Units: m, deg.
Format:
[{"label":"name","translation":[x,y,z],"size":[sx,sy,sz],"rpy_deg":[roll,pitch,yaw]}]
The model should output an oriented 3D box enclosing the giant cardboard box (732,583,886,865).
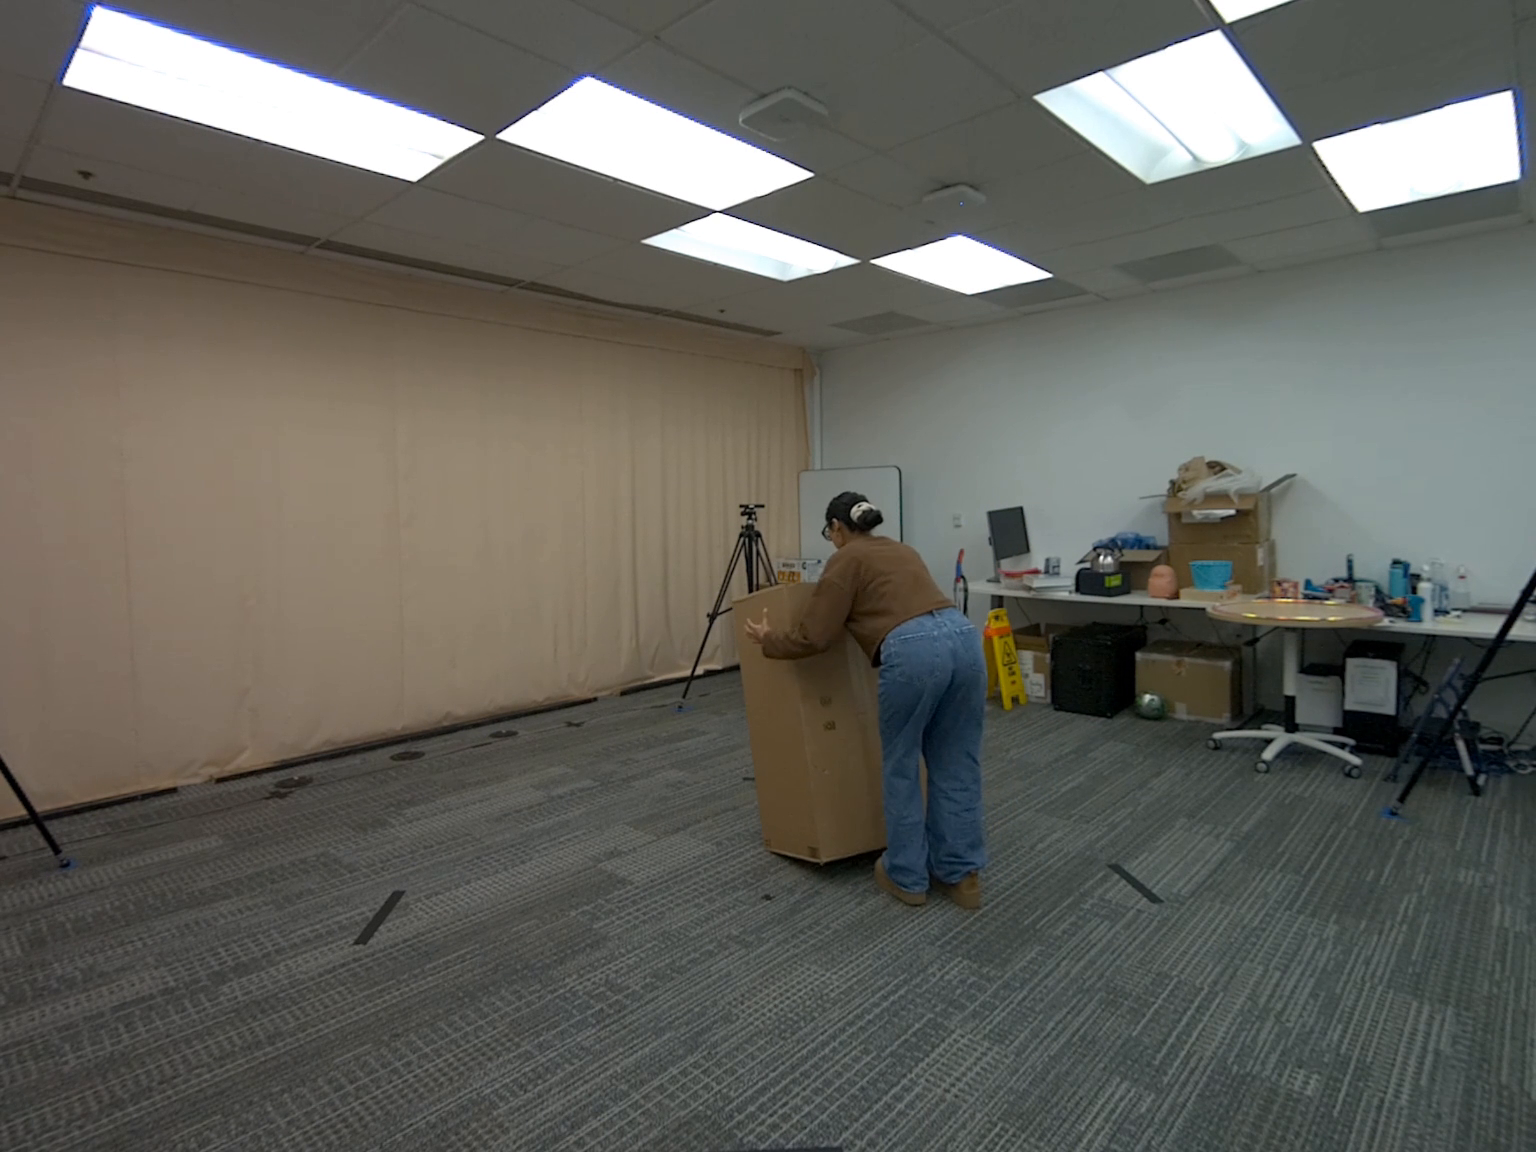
[{"label":"giant cardboard box","translation":[0.267,0.559,3.432],"size":[0.562,1.032,0.435],"rpy_deg":[-3,-9,-30]}]
